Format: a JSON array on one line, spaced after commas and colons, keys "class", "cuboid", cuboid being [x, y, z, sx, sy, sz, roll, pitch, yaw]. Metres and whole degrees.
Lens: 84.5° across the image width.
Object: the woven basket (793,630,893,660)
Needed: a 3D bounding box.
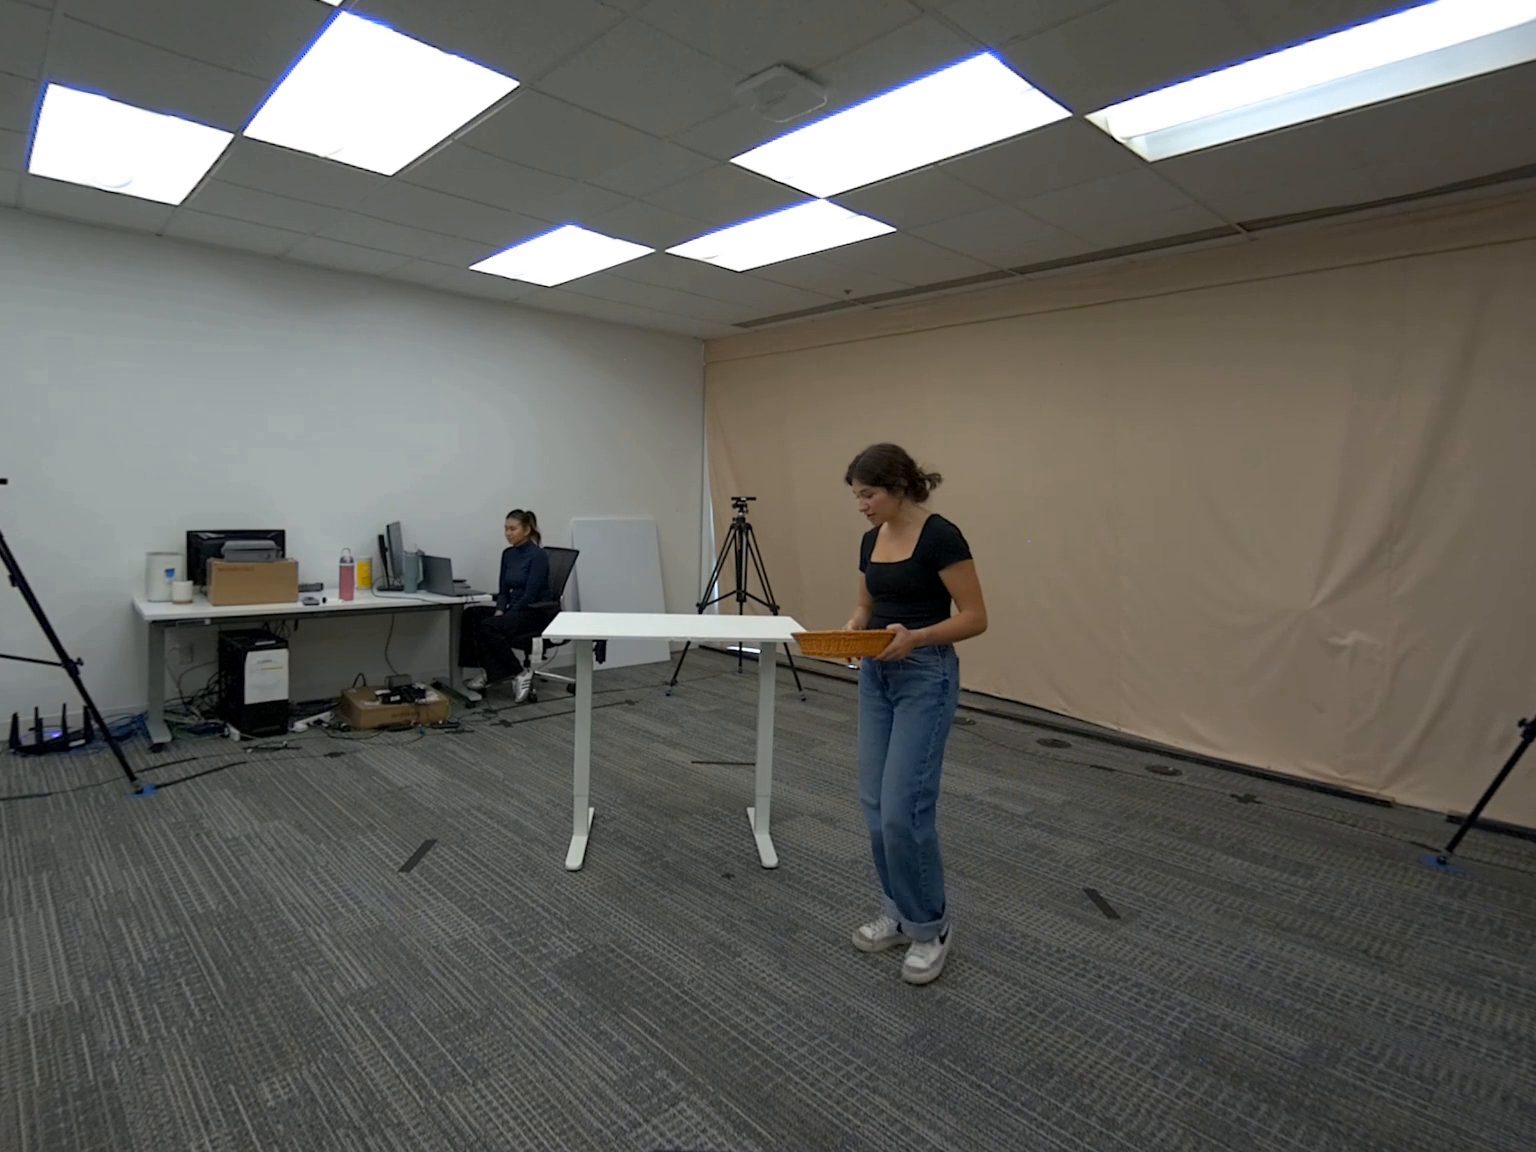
[{"class": "woven basket", "cuboid": [0.222, 0.202, 2.400, 0.258, 0.074, 0.342, -4, -4, 39]}]
